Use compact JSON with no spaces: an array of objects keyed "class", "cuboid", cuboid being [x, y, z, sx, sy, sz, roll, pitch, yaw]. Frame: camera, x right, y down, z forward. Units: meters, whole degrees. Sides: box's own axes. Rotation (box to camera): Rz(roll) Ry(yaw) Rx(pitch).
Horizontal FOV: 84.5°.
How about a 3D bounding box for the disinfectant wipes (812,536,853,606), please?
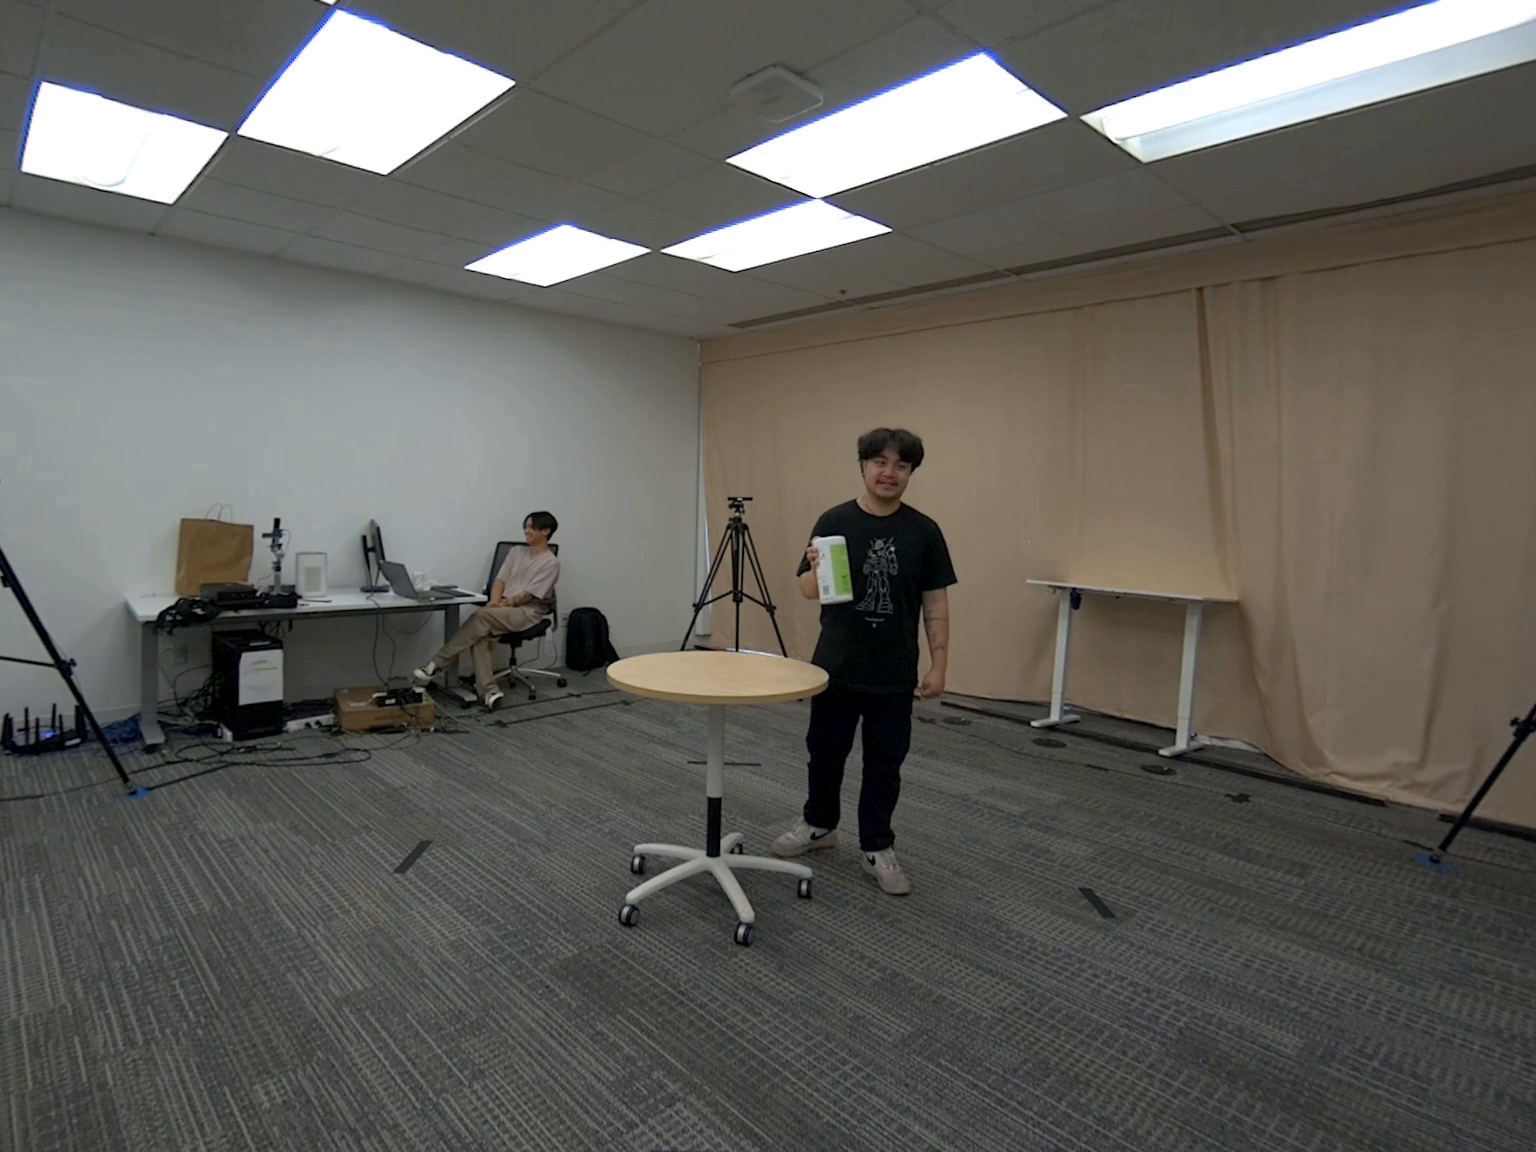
[{"class":"disinfectant wipes","cuboid":[0.200,-0.018,2.793,0.117,0.219,0.117,-6,-7,-2]}]
